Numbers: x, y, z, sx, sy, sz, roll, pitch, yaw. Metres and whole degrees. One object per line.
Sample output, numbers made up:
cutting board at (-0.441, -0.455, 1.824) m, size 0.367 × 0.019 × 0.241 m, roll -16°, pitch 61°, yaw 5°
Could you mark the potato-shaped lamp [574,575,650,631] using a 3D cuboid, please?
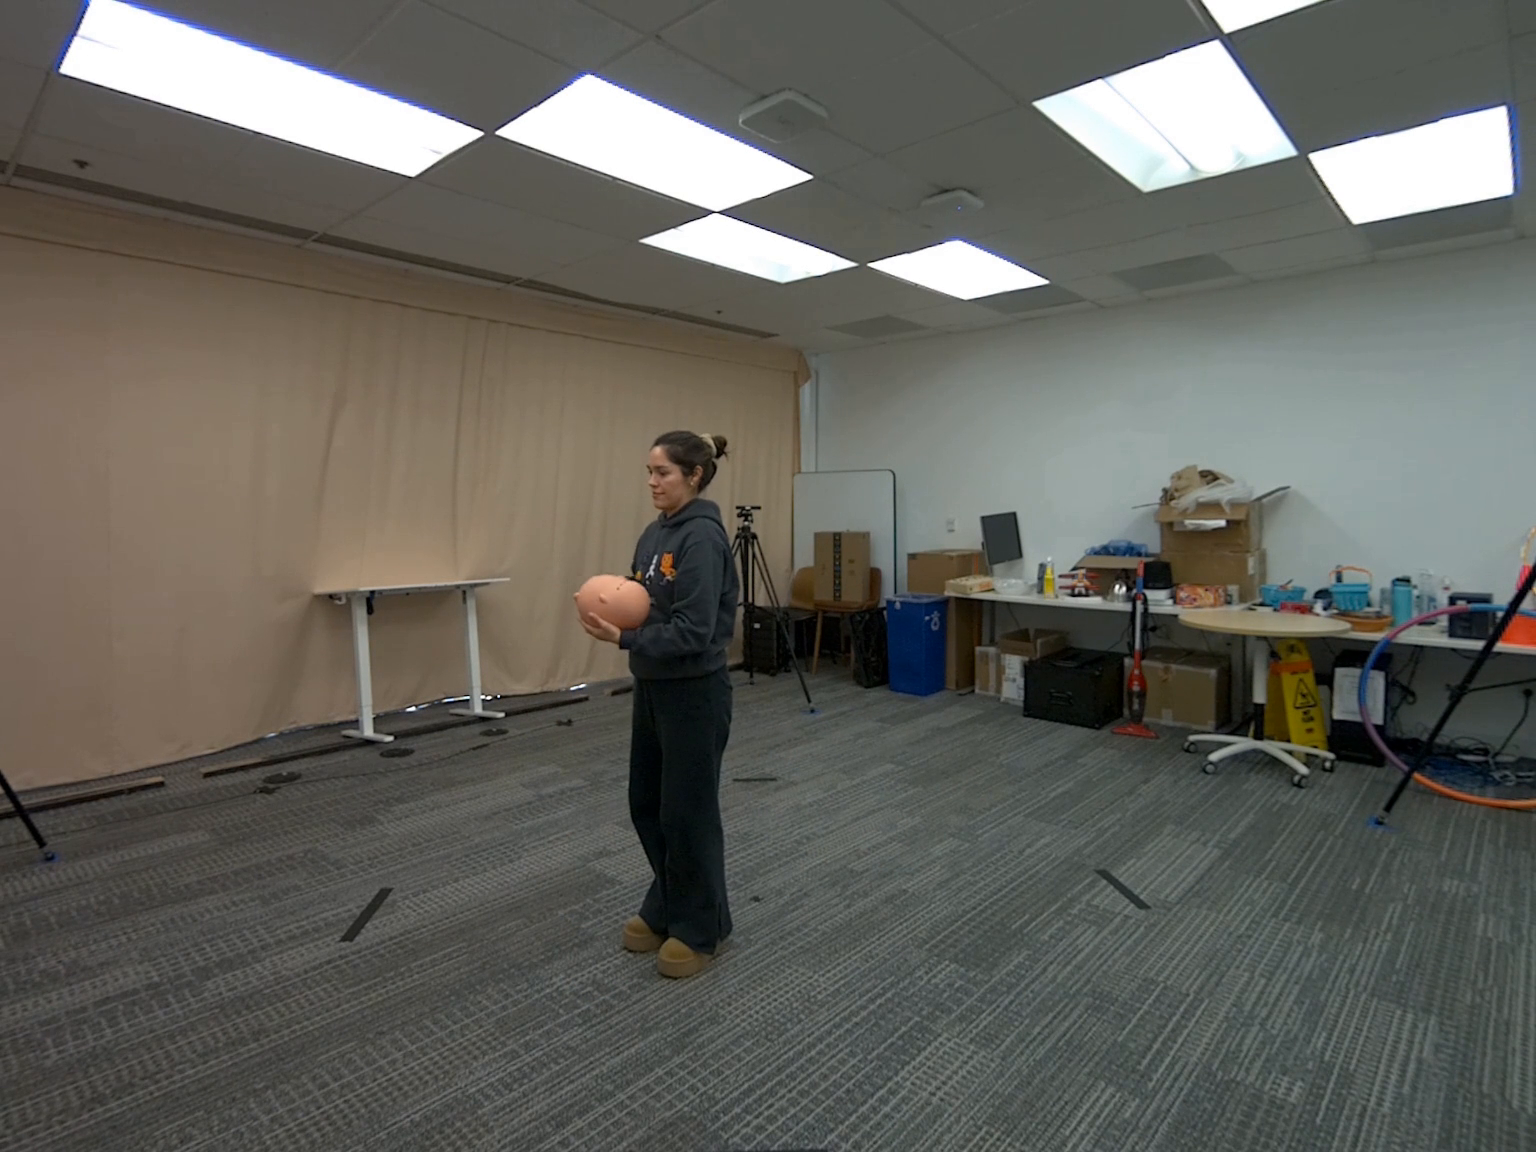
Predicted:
potato-shaped lamp at (-0.427, 0.075, 2.440) m, size 0.203 × 0.168 × 0.164 m, roll -8°, pitch 23°, yaw 26°
